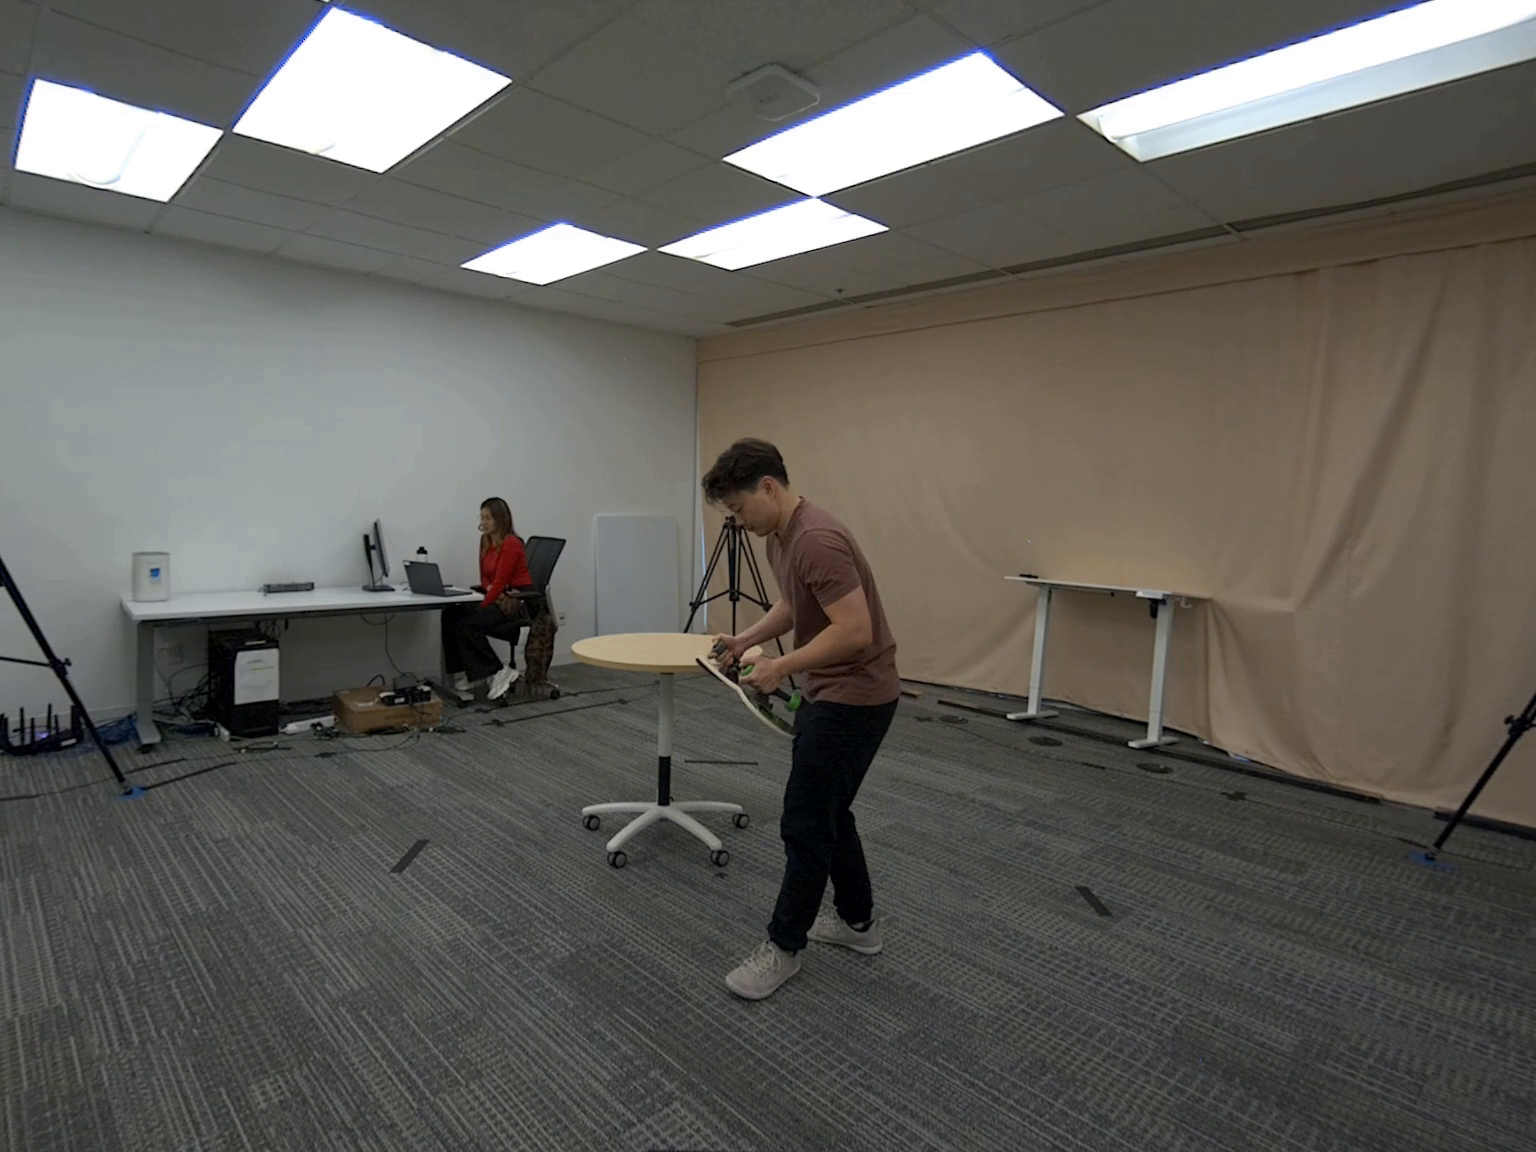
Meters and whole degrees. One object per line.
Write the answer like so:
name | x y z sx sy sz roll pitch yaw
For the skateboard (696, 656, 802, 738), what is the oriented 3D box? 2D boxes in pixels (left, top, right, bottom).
skateboard | -0.059 0.318 2.474 0.191 0.110 0.795 38 -6 -13
